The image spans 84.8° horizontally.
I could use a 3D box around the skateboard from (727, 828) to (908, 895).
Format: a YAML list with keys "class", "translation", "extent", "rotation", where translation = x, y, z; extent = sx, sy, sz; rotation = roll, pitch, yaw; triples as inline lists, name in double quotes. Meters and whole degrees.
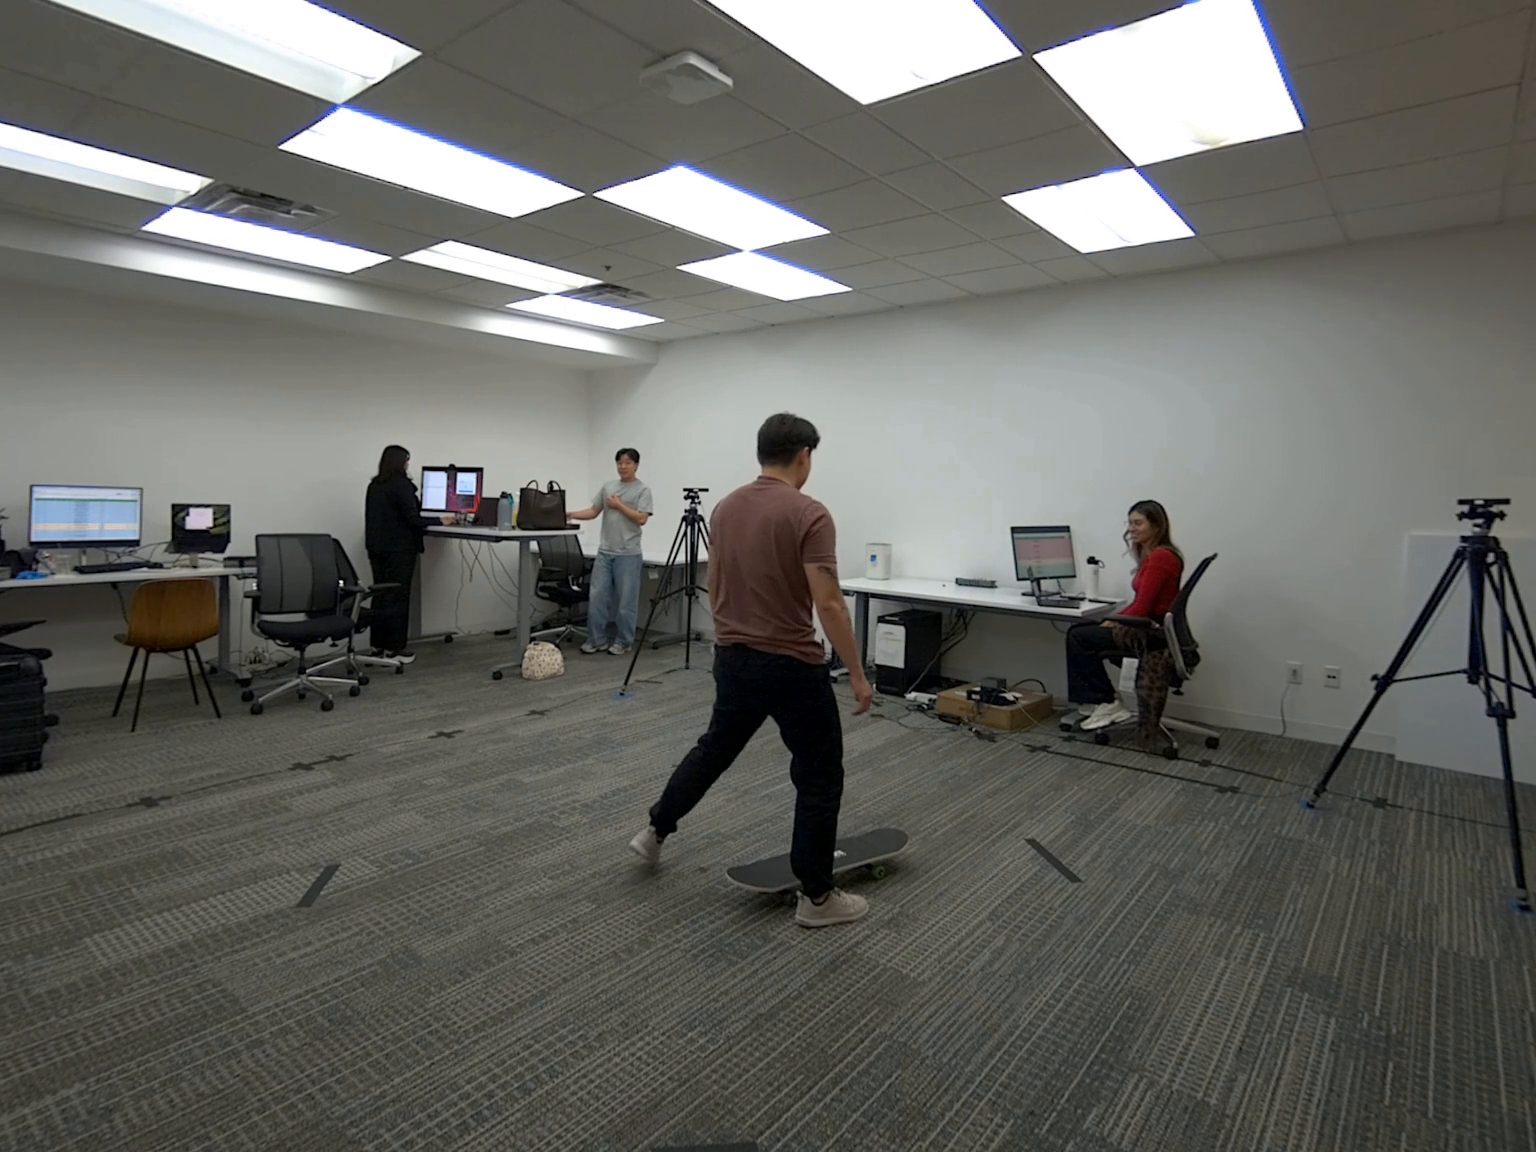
- class: "skateboard"
  translation: [0.191, 1.034, 3.018]
  extent: [0.763, 0.110, 0.200]
  rotation: [-2, 7, -35]
